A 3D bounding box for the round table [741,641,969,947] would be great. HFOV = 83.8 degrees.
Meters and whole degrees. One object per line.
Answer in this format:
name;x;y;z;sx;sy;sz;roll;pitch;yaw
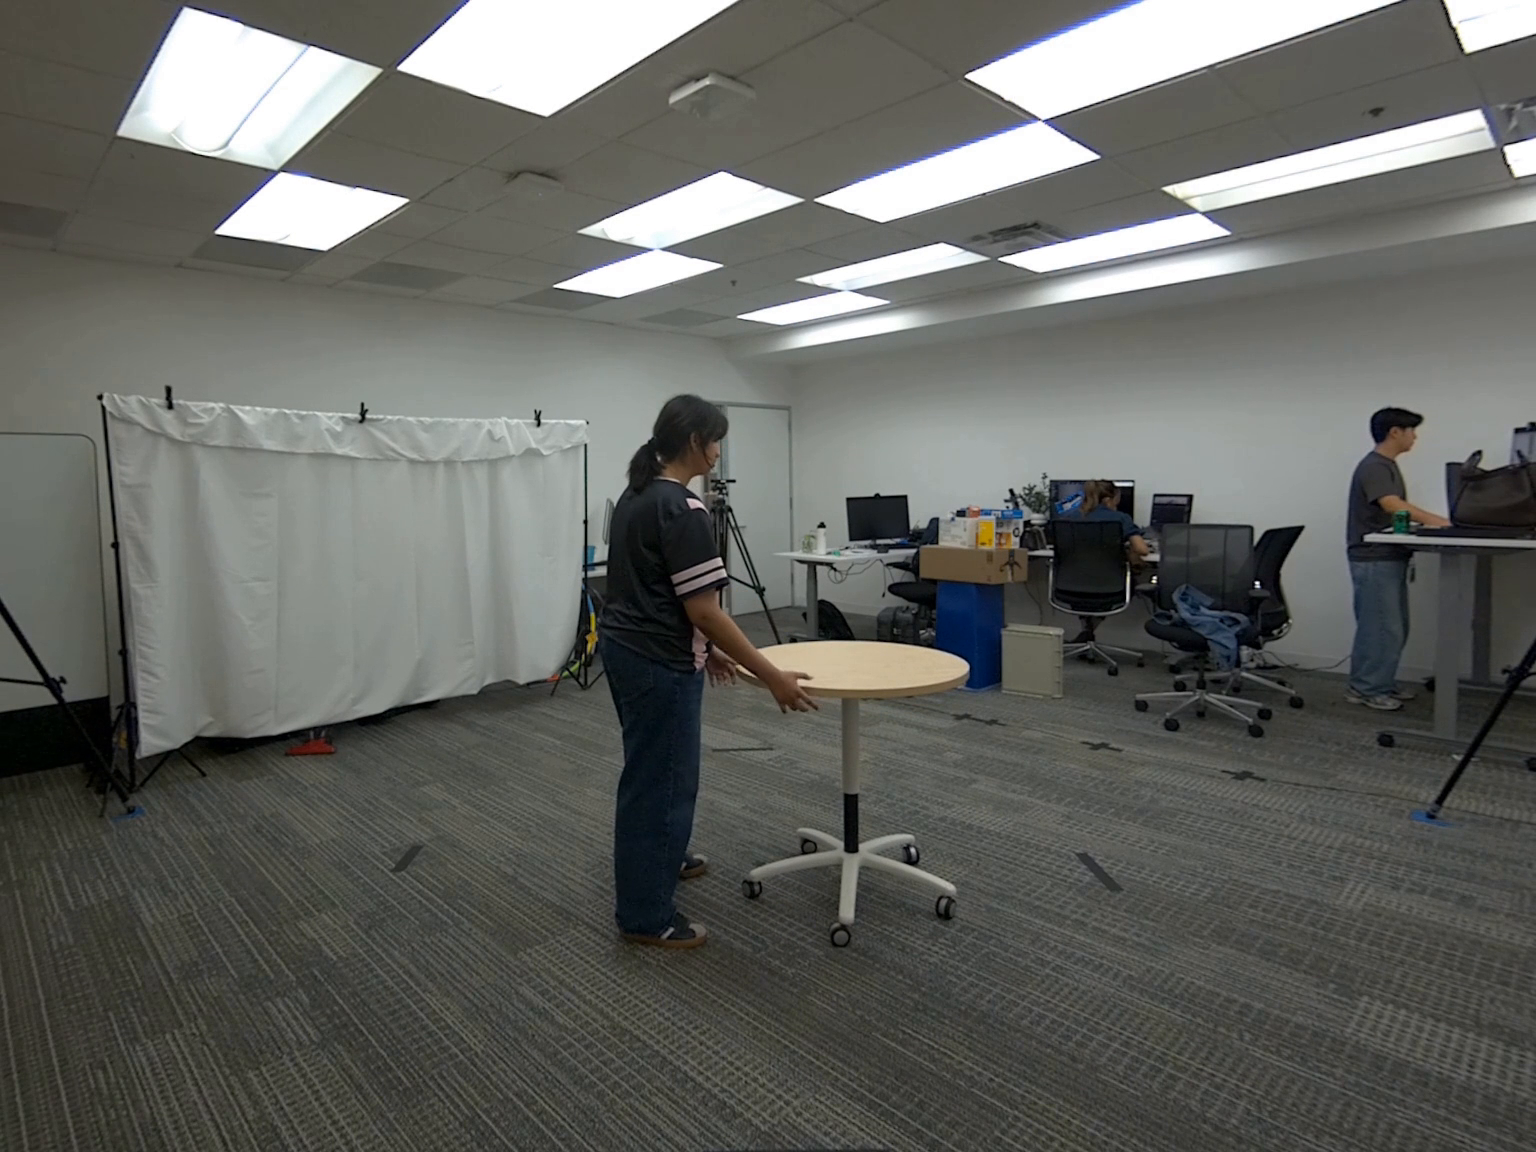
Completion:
round table;0.279;0.679;2.867;0.763;0.791;0.768;-1;5;-2
